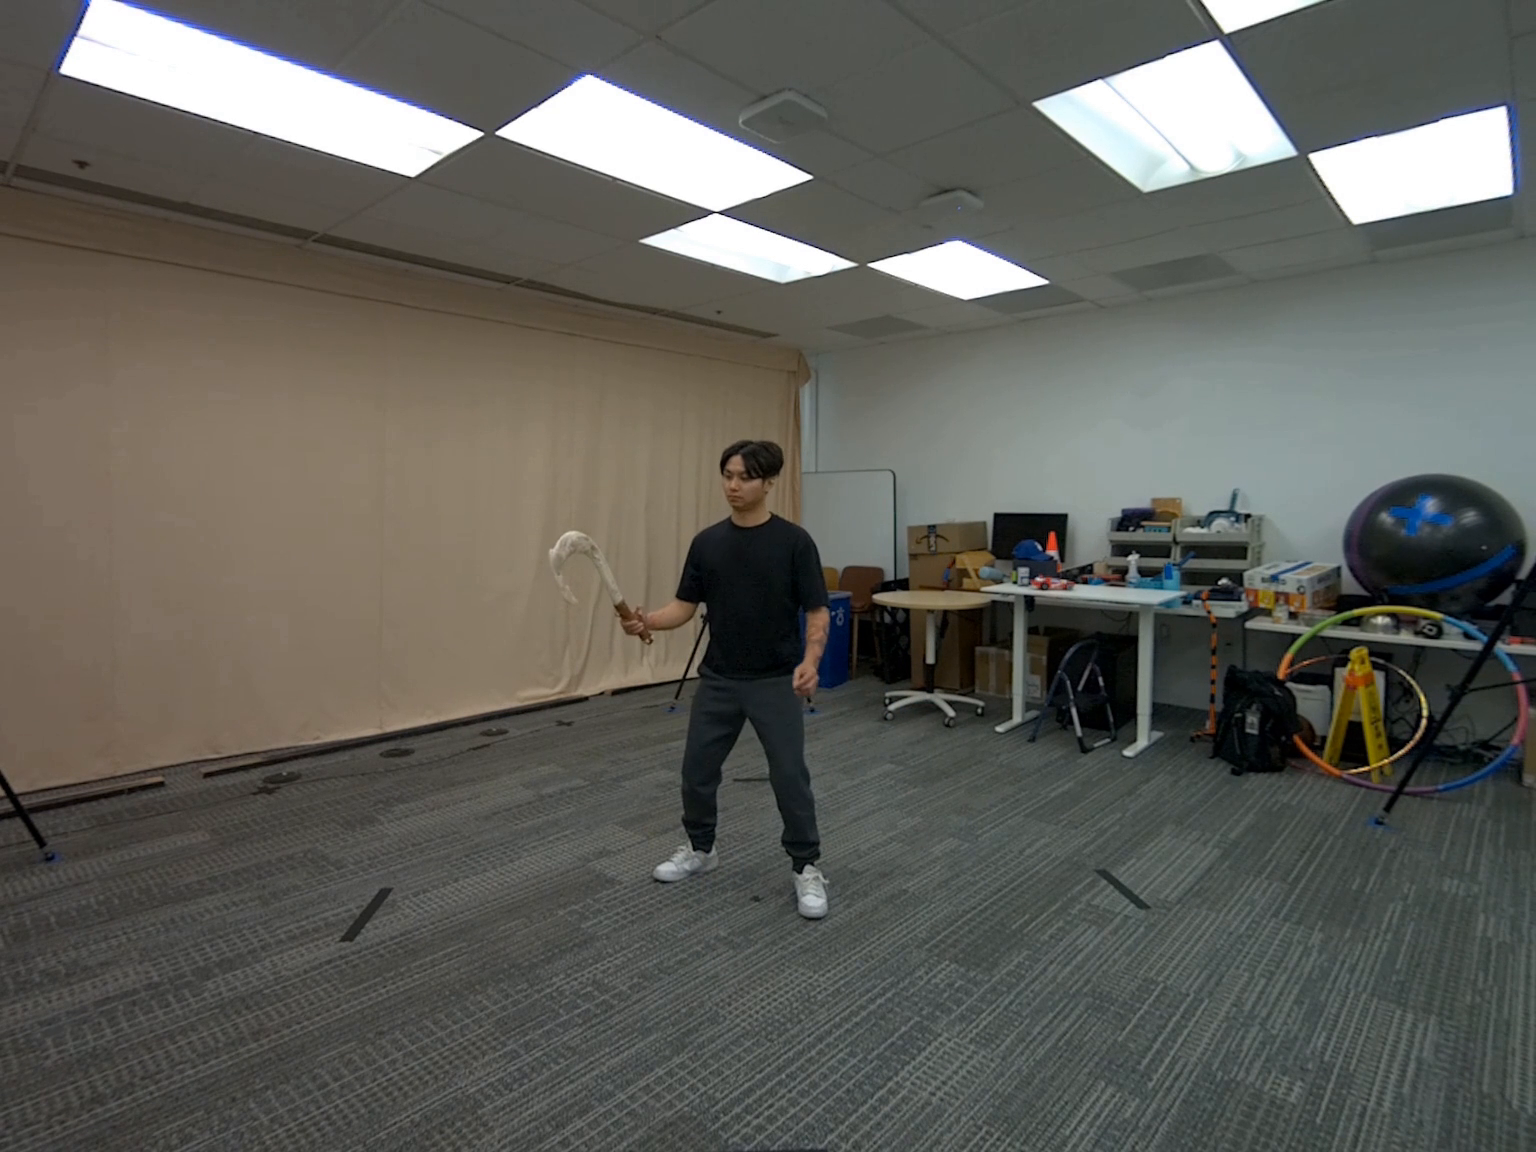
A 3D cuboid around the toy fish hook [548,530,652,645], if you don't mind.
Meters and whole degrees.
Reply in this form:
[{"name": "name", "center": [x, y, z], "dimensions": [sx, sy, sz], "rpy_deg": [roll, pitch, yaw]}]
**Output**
[{"name": "toy fish hook", "center": [-0.540, 0.058, 2.790], "dimensions": [0.050, 0.494, 0.223], "rpy_deg": [-6, 35, 44]}]
